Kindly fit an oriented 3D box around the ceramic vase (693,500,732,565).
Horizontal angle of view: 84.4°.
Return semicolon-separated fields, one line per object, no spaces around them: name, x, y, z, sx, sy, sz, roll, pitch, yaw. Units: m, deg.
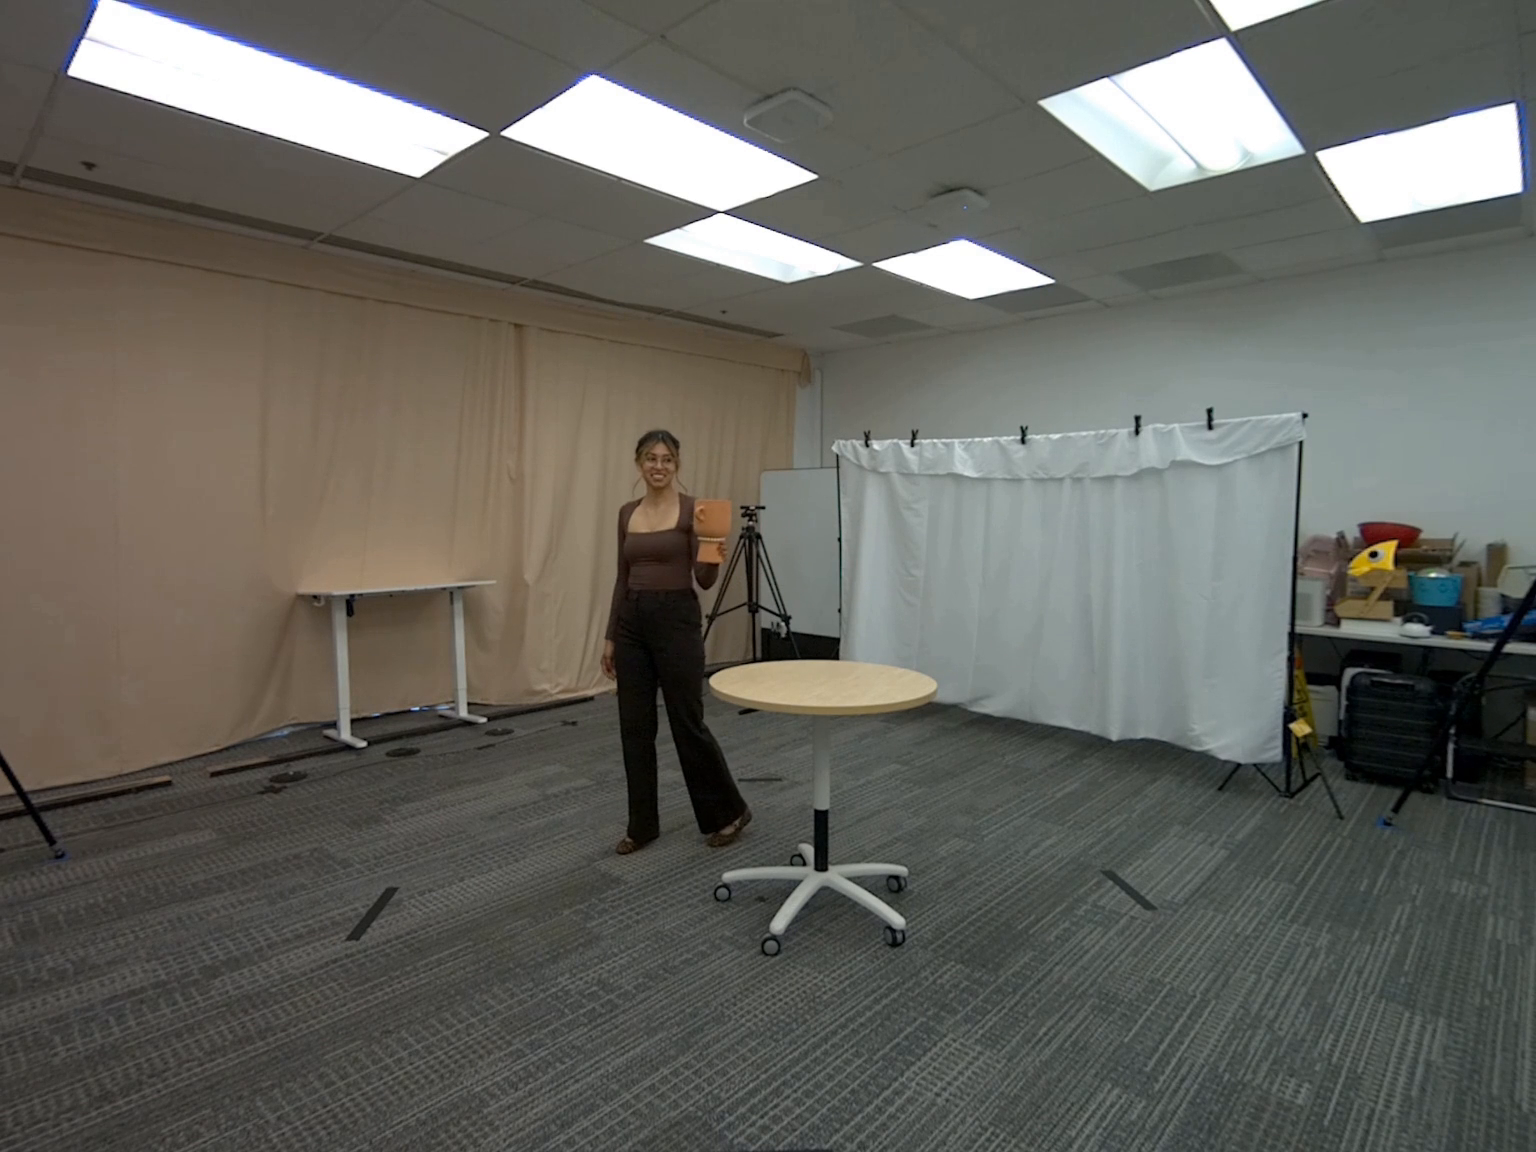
ceramic vase;-0.198;-0.160;3.018;0.156;0.219;0.137;1;3;-17
